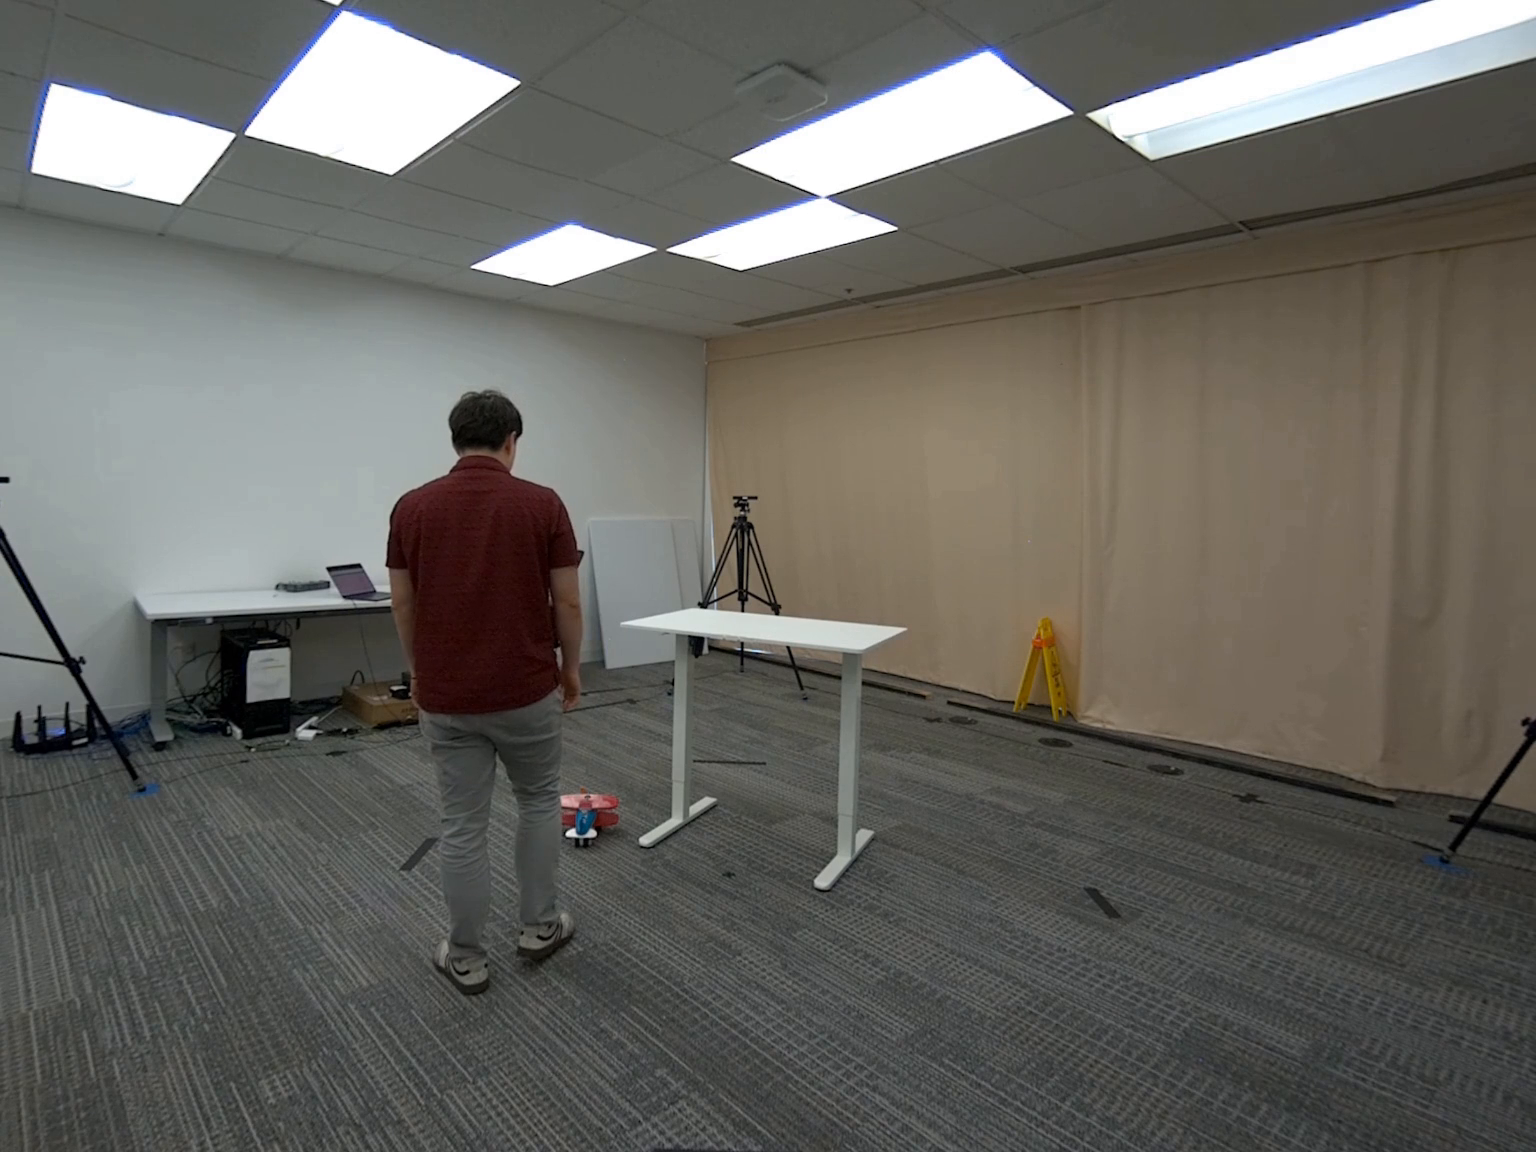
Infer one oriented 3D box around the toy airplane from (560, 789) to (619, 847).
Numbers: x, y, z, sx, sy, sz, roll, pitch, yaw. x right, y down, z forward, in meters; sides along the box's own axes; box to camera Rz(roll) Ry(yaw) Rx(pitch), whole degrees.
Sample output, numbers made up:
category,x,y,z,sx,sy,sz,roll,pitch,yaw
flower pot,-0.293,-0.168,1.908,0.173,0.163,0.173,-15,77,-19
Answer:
category,x,y,z,sx,sy,sz,roll,pitch,yaw
toy airplane,-0.731,0.989,3.414,0.246,0.156,0.265,-1,4,-29
